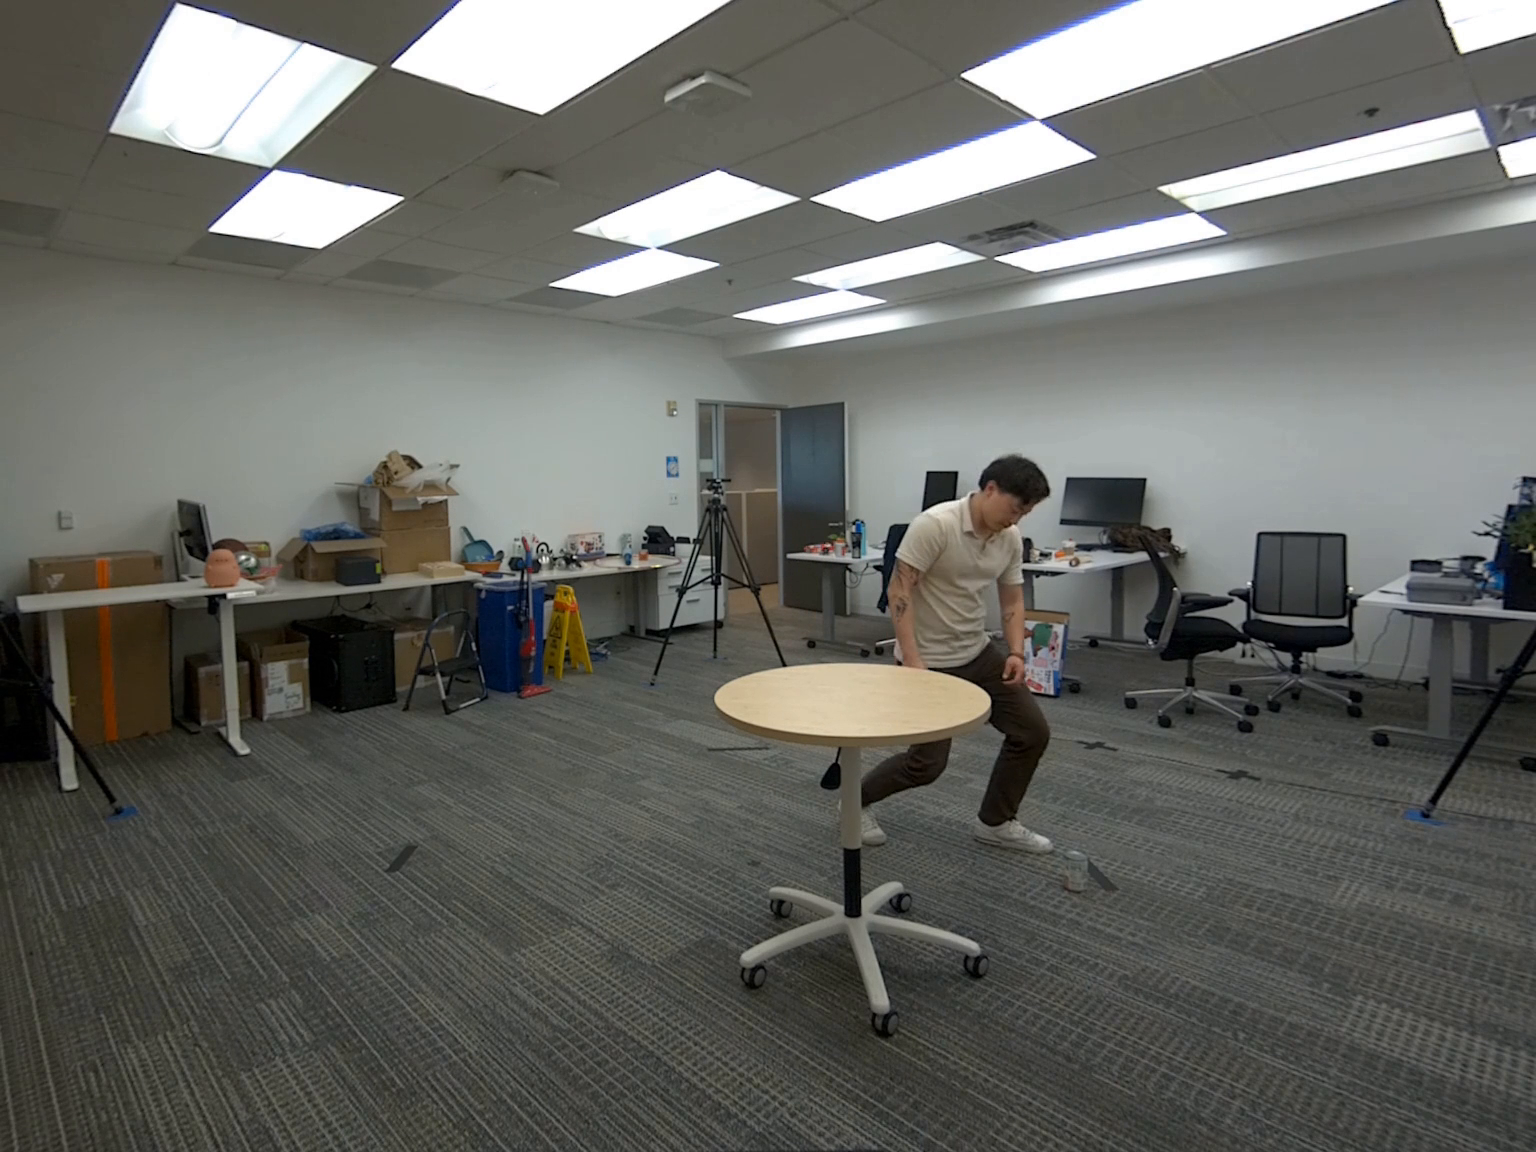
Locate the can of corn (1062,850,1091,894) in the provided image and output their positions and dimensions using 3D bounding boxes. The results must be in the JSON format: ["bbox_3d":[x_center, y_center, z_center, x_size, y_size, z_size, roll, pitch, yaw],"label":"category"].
[{"bbox_3d":[1.041,1.001,2.879,0.074,0.111,0.074,1,0,-2],"label":"can of corn"}]
